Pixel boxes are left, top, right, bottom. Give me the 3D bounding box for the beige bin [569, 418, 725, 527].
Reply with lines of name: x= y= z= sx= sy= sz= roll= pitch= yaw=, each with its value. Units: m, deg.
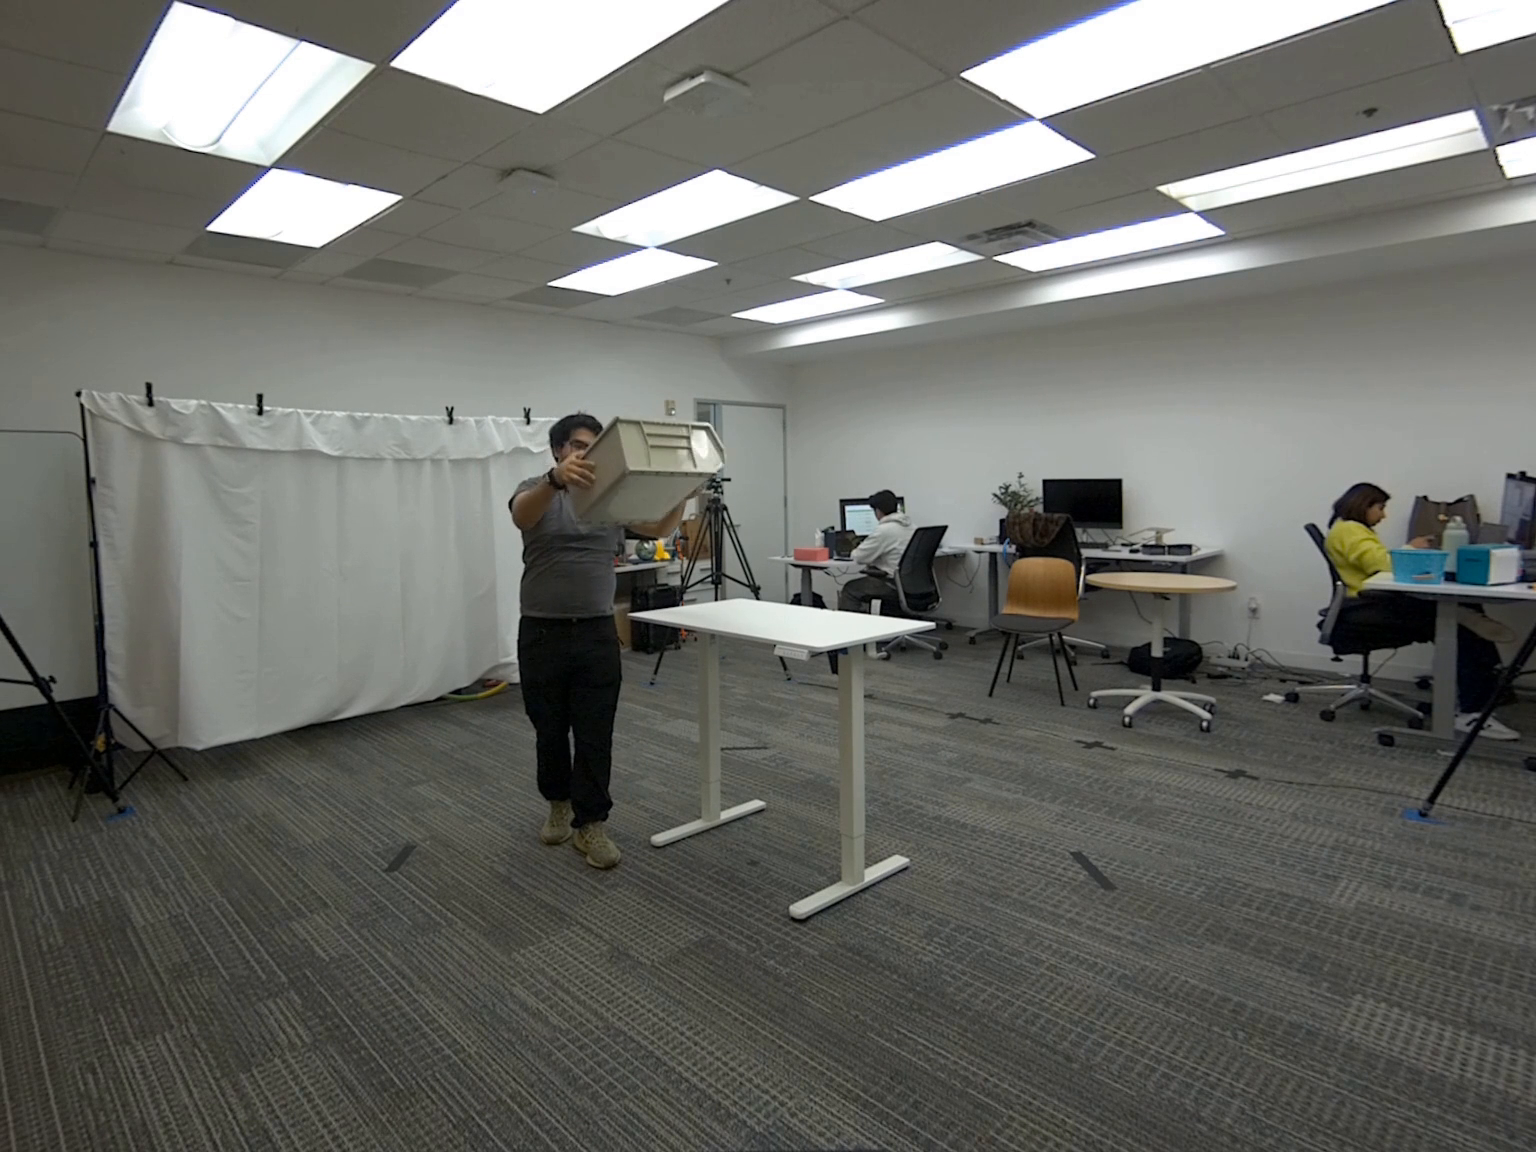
beige bin: x=-0.401 y=-0.328 z=2.785 sx=0.367 sy=0.192 sz=0.426 roll=-3 pitch=-18 yaw=-37
